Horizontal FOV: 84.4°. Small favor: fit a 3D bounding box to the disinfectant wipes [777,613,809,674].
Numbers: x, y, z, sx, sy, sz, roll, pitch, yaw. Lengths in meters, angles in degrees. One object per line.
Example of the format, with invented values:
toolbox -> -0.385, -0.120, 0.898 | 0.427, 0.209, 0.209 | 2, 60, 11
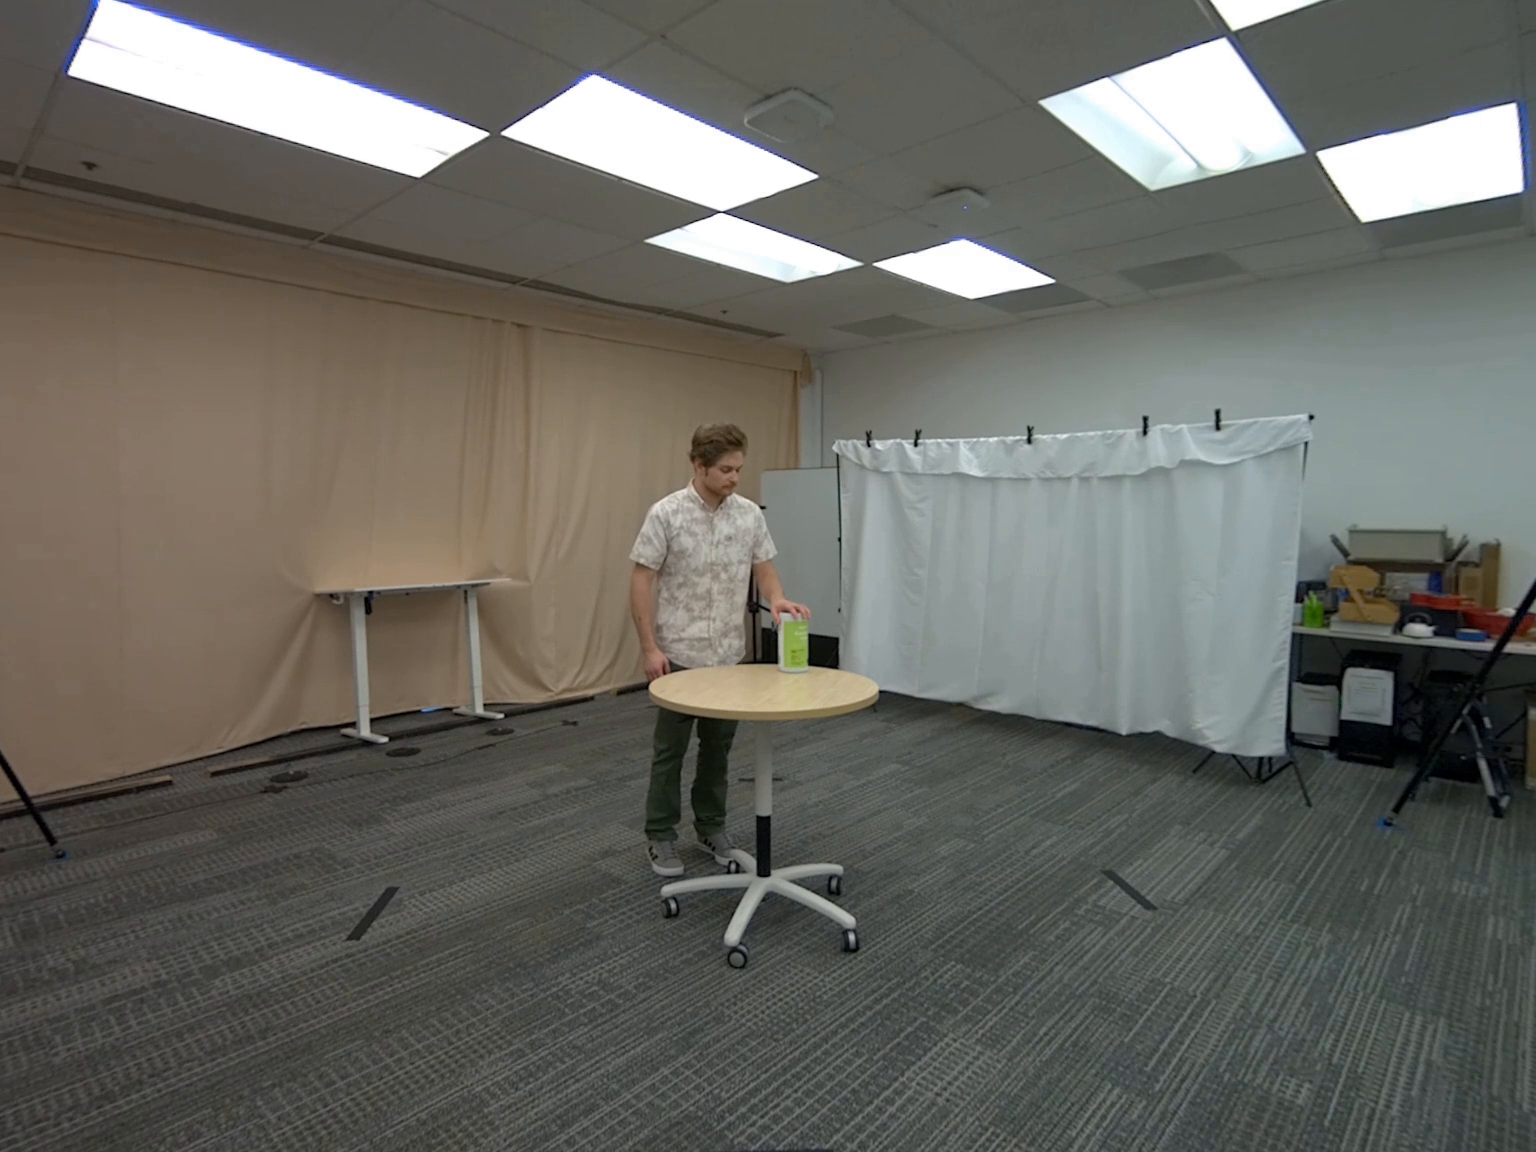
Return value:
disinfectant wipes -> 0.097, 0.244, 3.072 | 0.118, 0.217, 0.118 | 1, 2, -2
